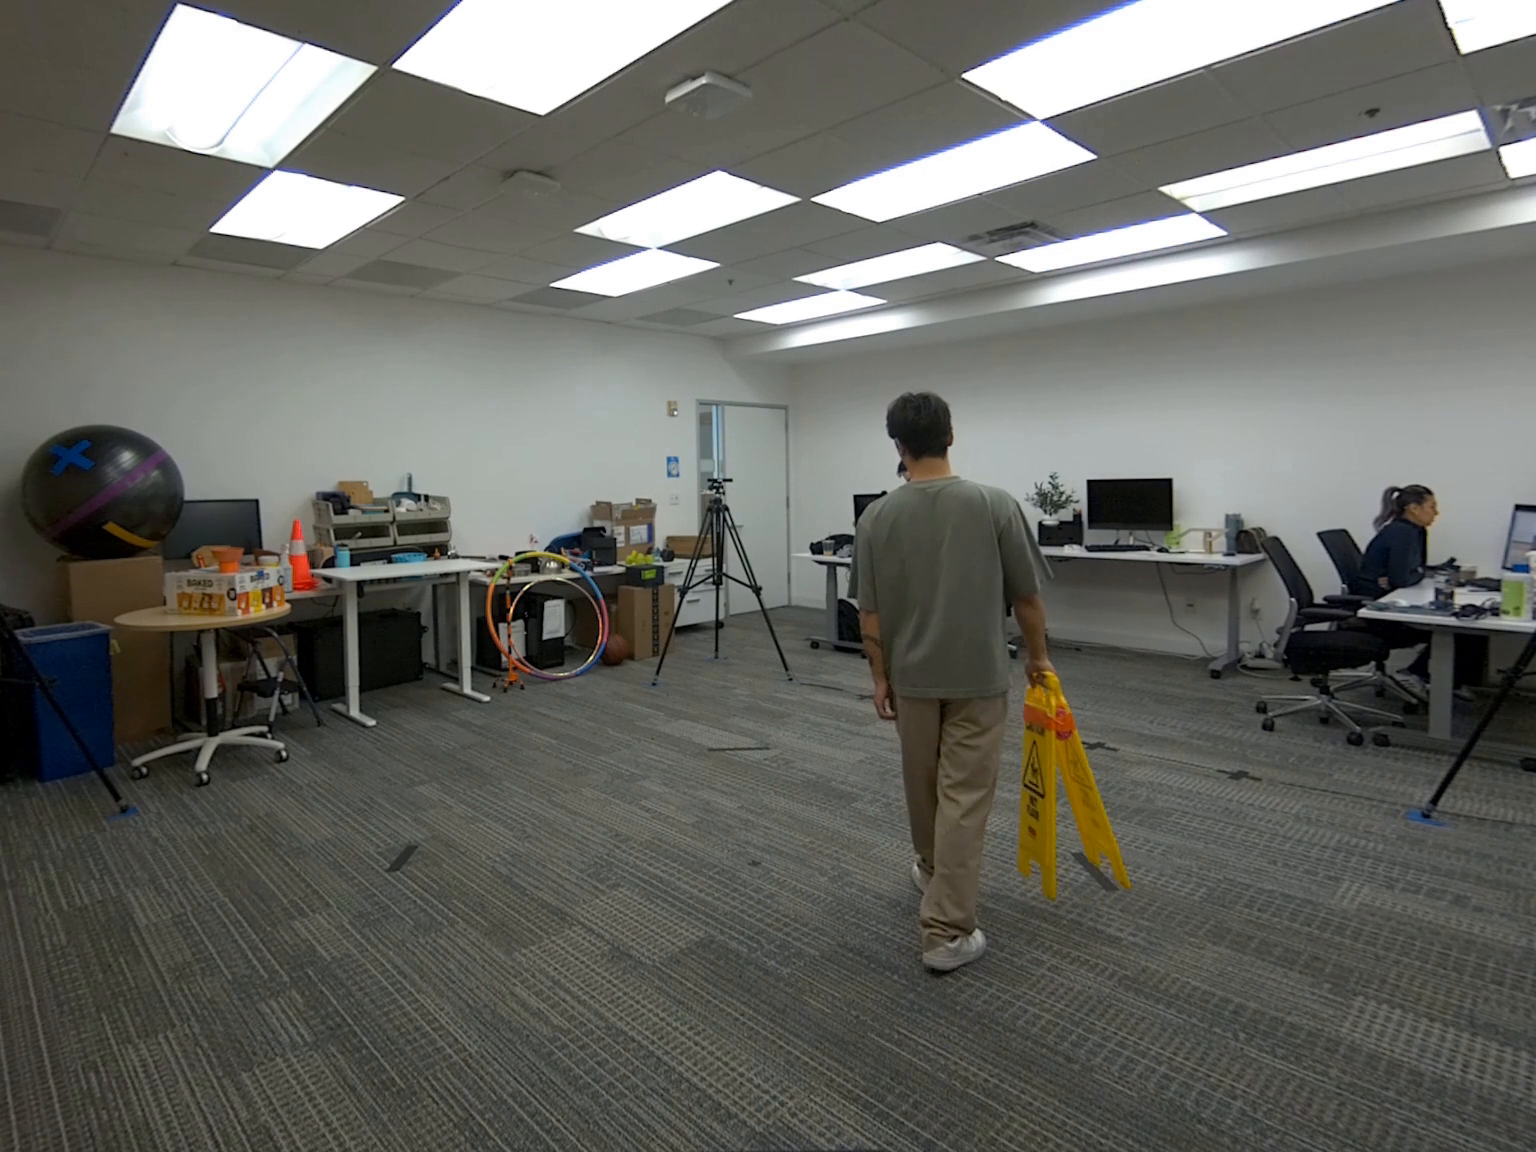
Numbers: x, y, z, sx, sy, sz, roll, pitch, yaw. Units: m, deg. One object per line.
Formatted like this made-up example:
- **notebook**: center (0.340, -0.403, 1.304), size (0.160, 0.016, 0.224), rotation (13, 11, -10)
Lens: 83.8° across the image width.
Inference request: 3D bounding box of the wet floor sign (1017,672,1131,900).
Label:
- **wet floor sign**: center (0.896, 0.617, 2.657), size (0.289, 0.649, 0.281), rotation (-8, -5, -2)
